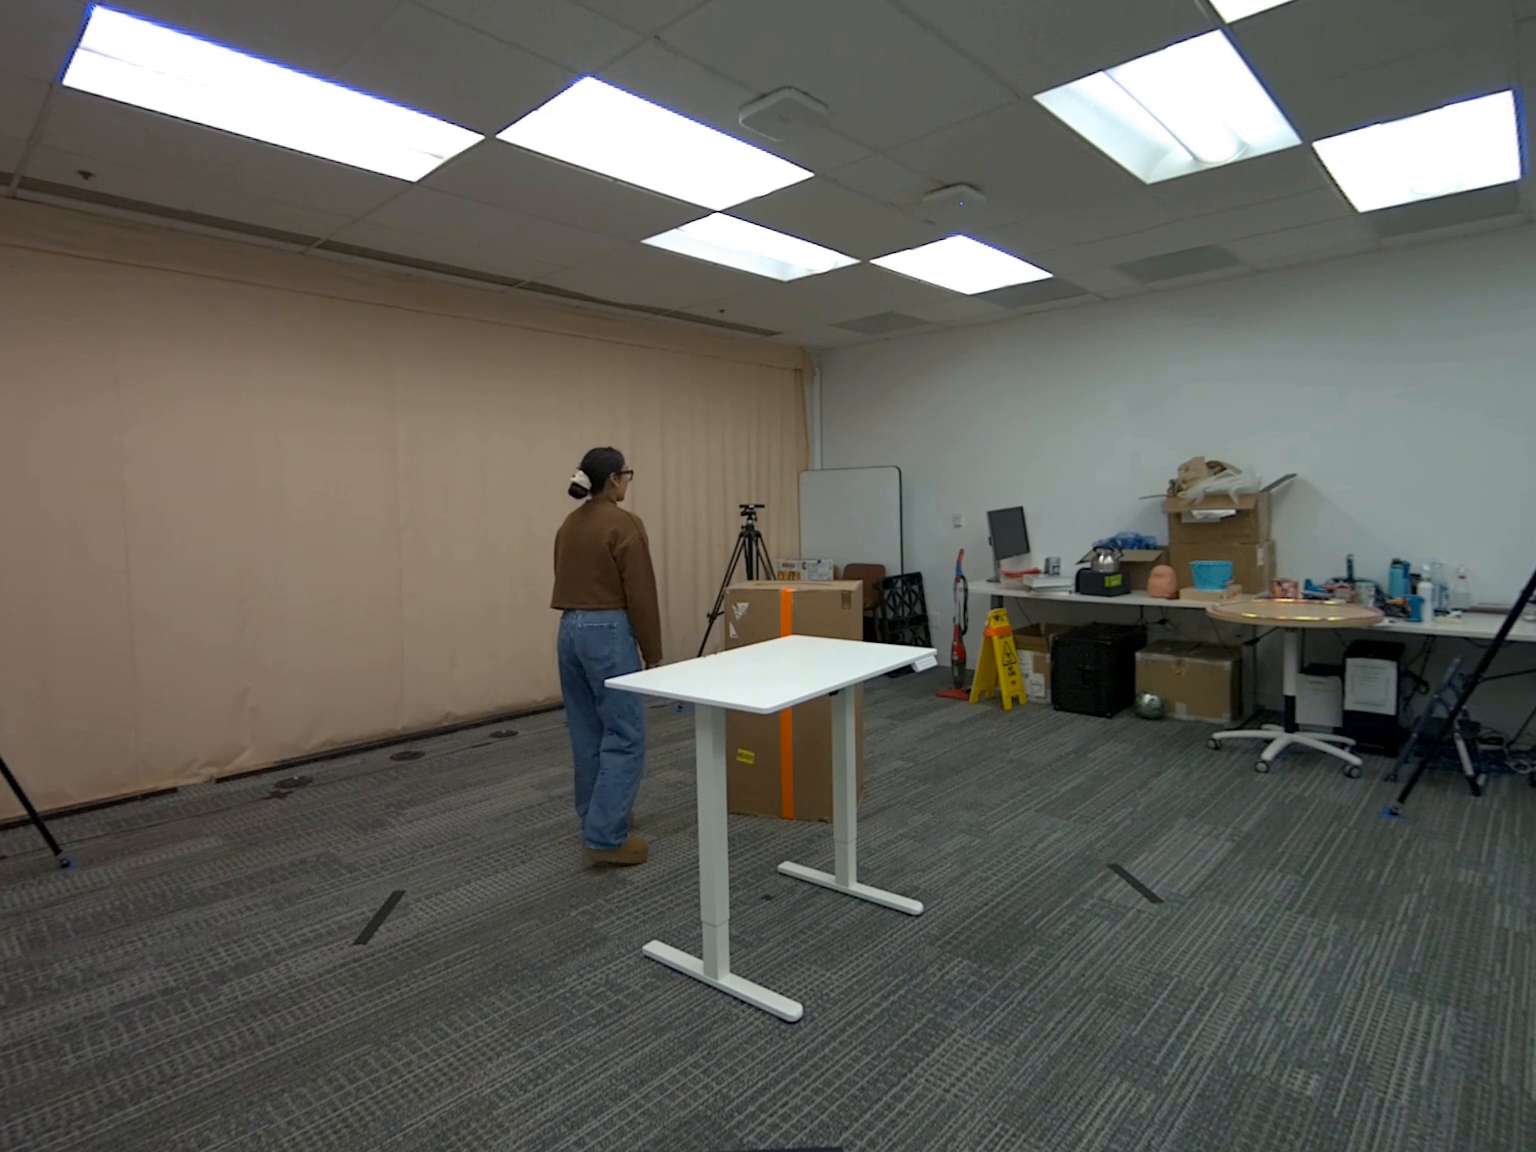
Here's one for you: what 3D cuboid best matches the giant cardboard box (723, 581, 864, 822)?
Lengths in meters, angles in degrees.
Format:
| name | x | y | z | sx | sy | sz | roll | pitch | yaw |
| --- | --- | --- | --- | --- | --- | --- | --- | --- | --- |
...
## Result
| name | x | y | z | sx | sy | sz | roll | pitch | yaw |
| --- | --- | --- | --- | --- | --- | --- | --- | --- | --- |
| giant cardboard box | 0.134 | 0.551 | 3.915 | 0.587 | 1.024 | 0.420 | 0 | 3 | 15 |
